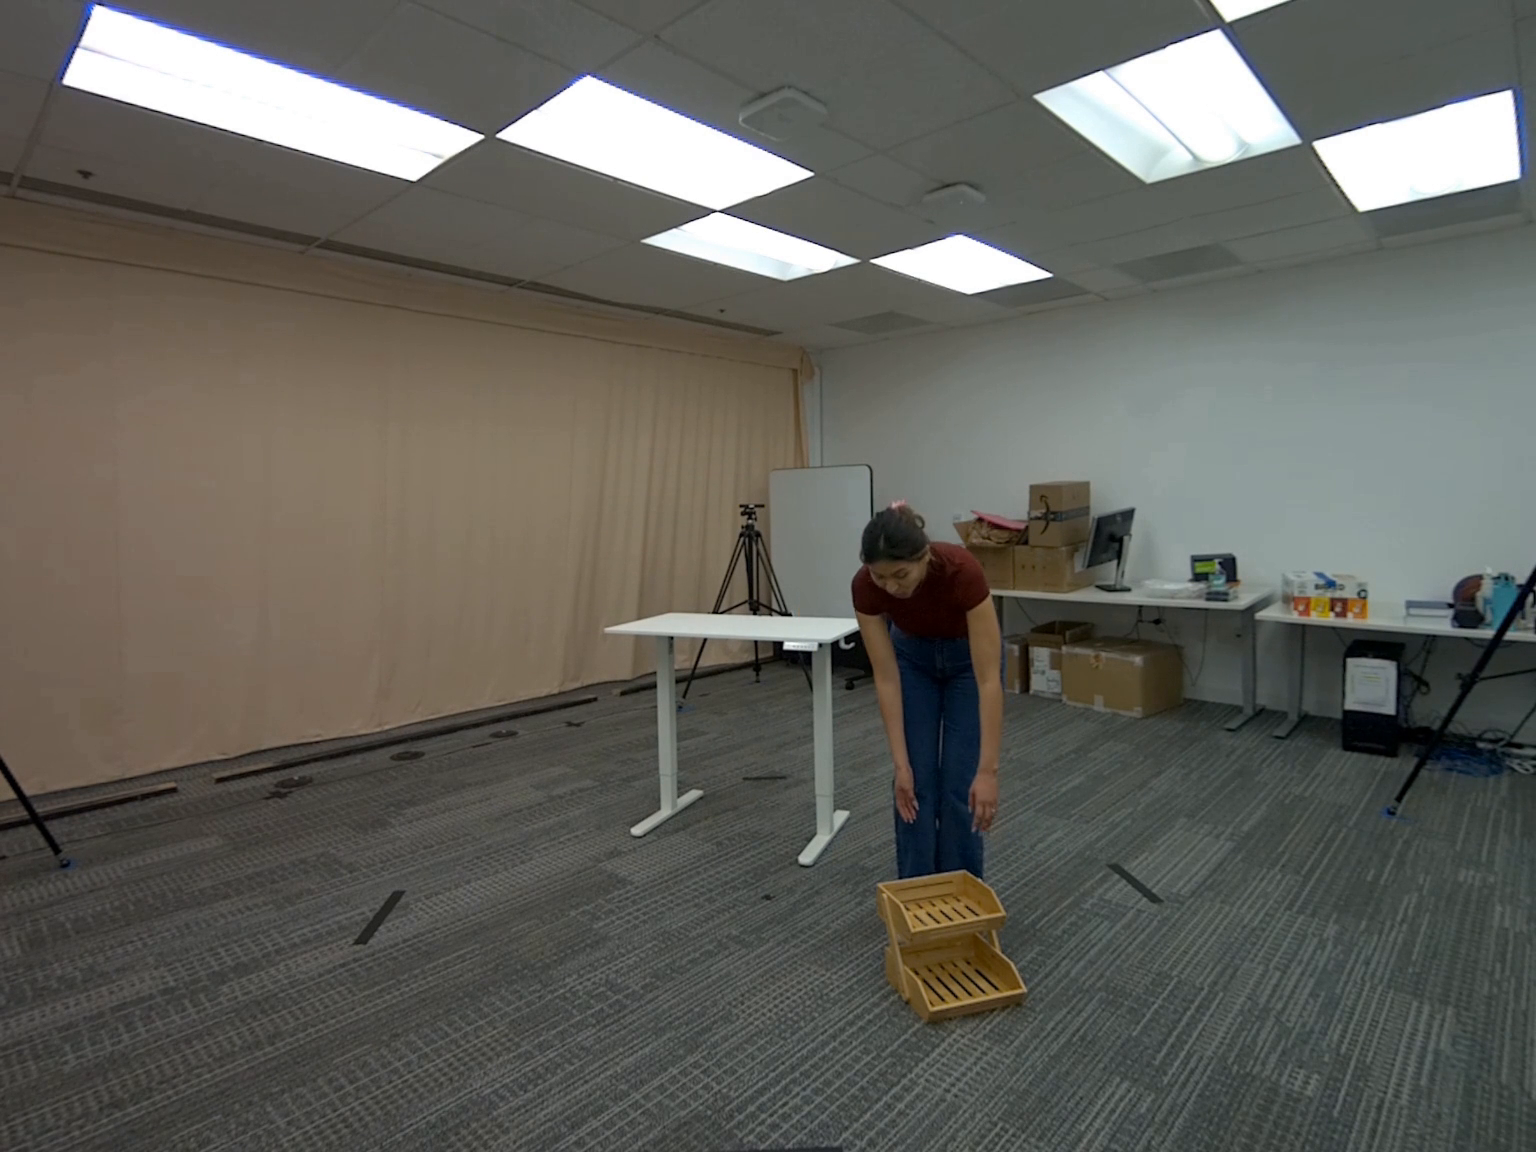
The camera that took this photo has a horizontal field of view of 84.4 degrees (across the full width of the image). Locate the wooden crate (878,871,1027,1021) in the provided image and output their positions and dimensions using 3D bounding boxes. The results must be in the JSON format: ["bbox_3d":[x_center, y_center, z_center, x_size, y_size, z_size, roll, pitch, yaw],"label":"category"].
[{"bbox_3d":[0.520,1.040,2.407,0.319,0.273,0.308,-2,4,-18],"label":"wooden crate"}]
